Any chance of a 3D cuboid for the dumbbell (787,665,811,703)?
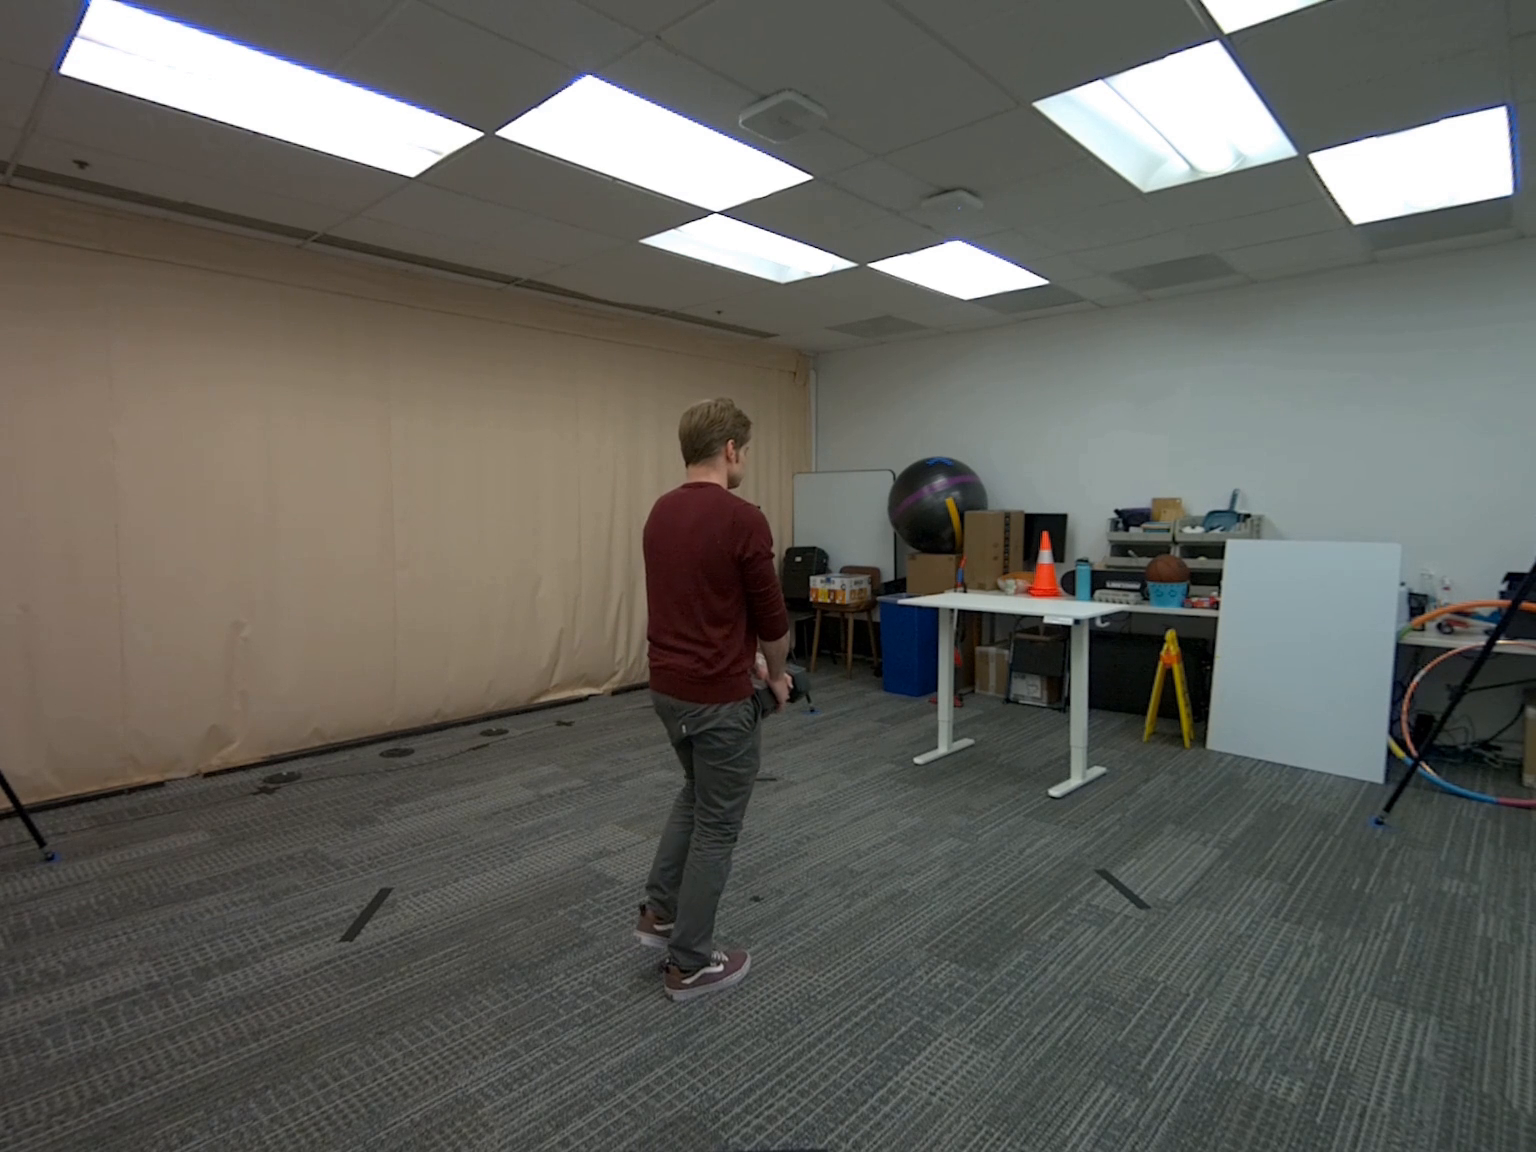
[{"bbox_3d":[0.032,0.364,2.662,0.111,0.123,0.286,44,30,21],"label":"dumbbell"}]
